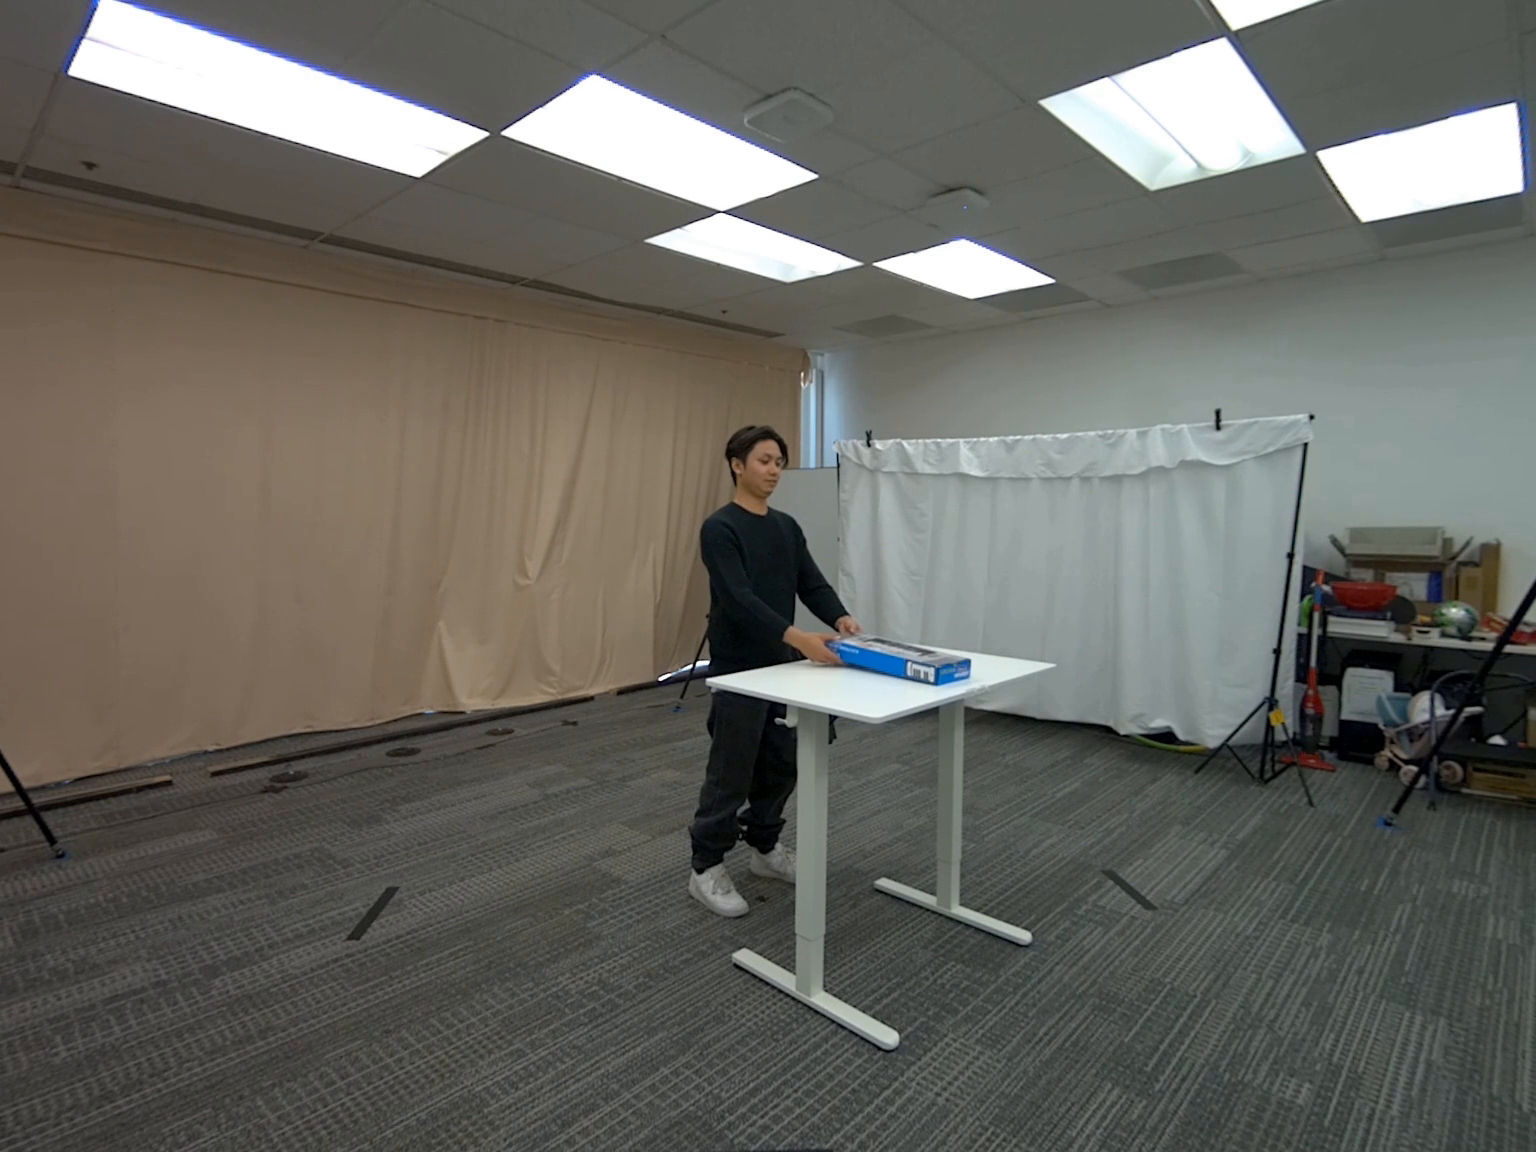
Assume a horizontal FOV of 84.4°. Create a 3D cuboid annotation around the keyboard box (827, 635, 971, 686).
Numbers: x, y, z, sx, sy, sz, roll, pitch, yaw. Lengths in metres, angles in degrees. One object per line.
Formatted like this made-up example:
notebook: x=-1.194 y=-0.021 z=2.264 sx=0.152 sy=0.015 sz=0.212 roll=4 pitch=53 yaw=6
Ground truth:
keyboard box: x=0.389 y=0.252 z=2.575 sx=0.170 sy=0.059 sz=0.452 roll=-4 pitch=10 yaw=-42
